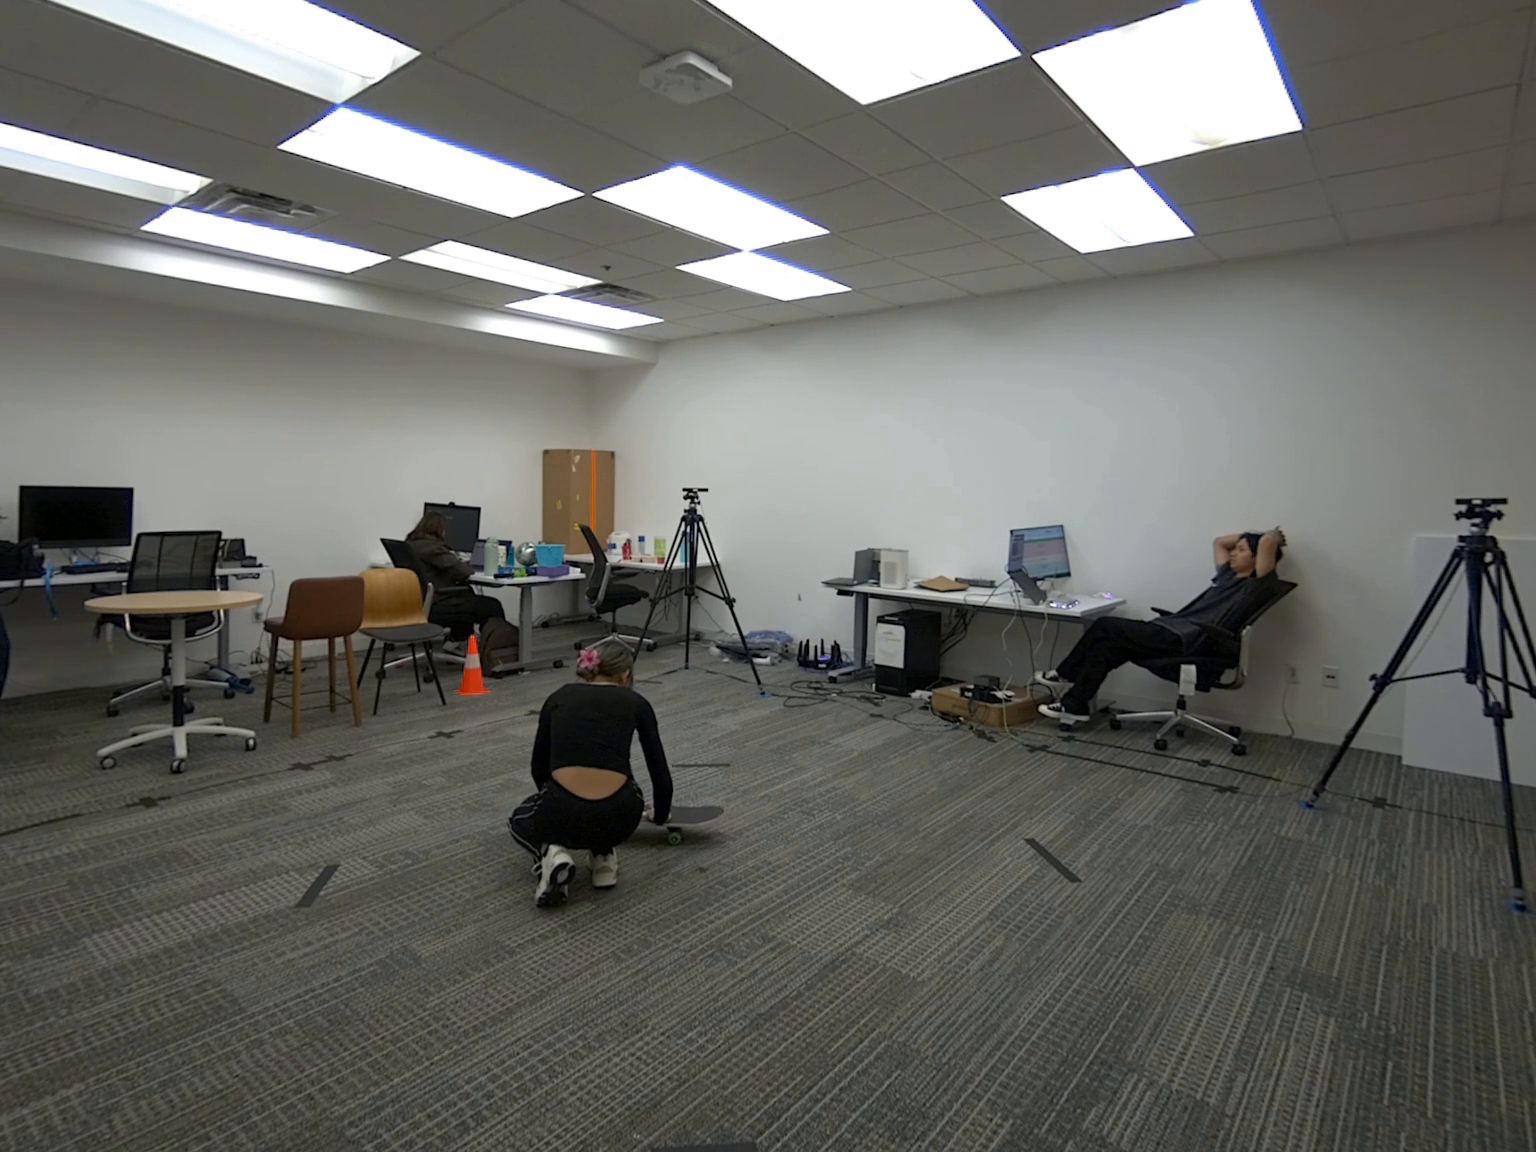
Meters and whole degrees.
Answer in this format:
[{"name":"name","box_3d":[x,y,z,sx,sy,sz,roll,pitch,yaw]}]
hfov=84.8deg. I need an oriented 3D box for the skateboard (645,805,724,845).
[{"name":"skateboard","box_3d":[-0.572,0.973,3.399,0.787,0.110,0.194,1,6,1]}]
